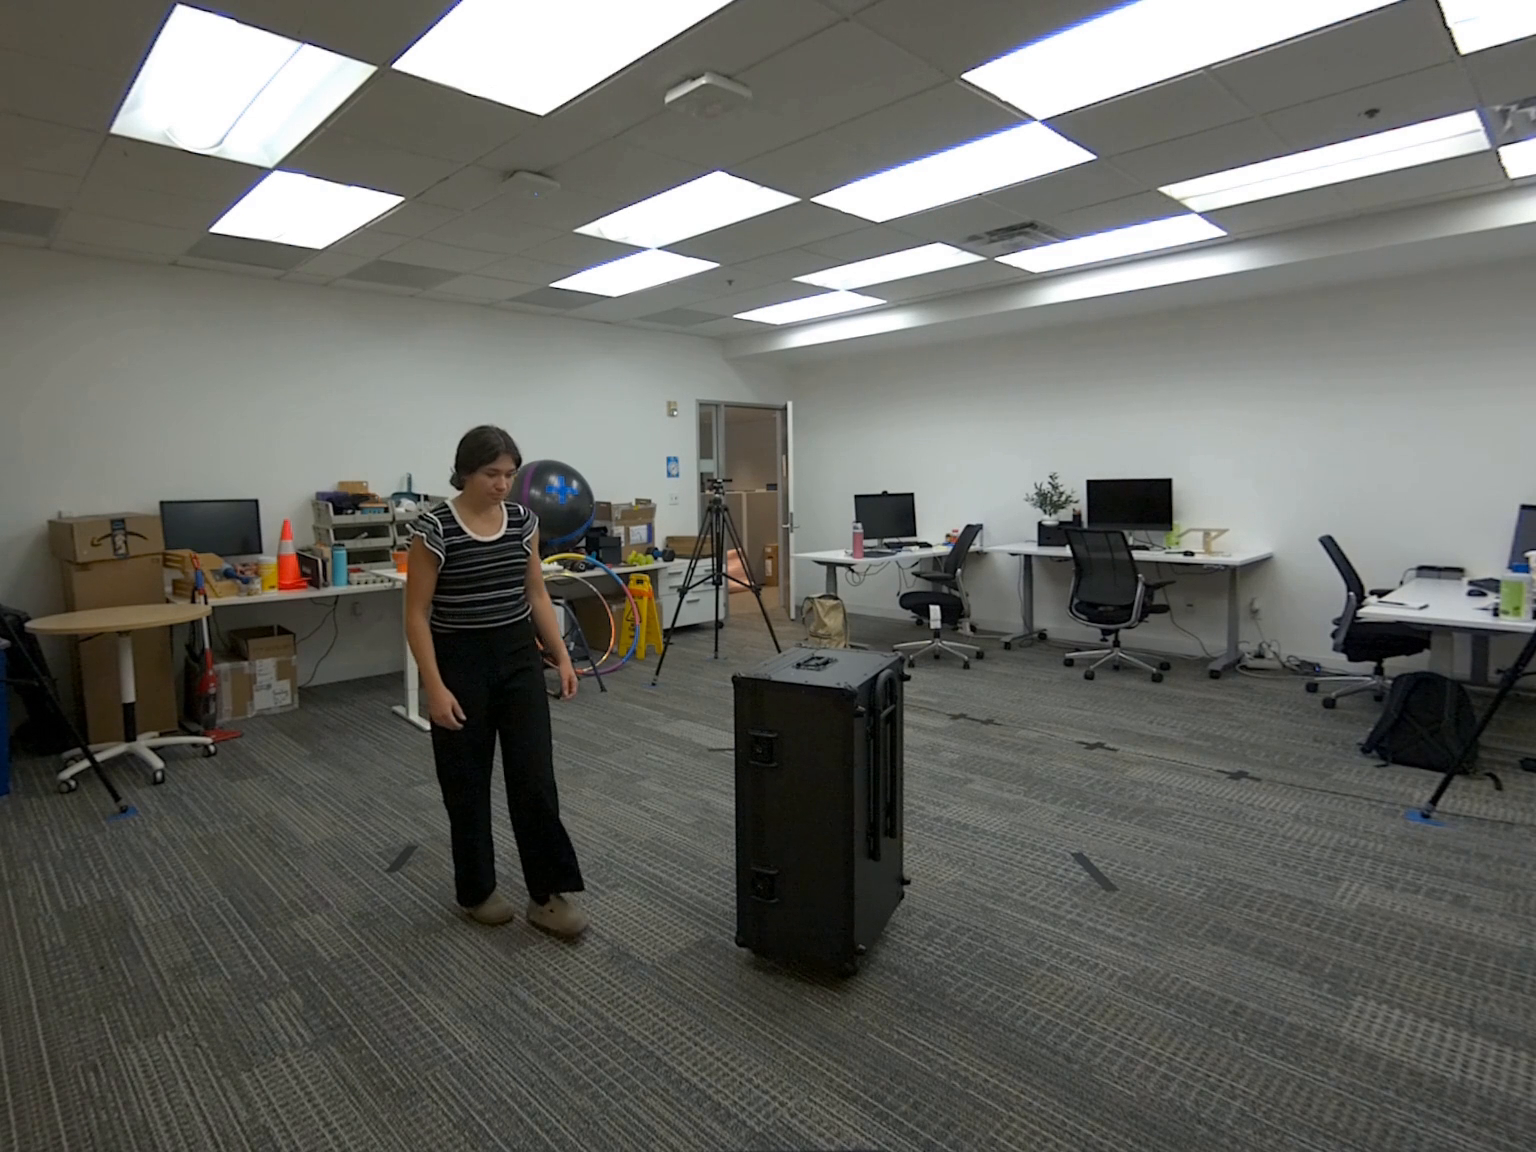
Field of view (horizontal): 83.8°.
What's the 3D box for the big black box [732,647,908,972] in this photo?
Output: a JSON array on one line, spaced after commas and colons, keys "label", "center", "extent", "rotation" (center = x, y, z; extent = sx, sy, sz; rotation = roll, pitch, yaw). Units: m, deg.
[{"label": "big black box", "center": [0.180, 0.683, 2.543], "extent": [0.406, 0.858, 0.511], "rotation": [3, 5, 25]}]
